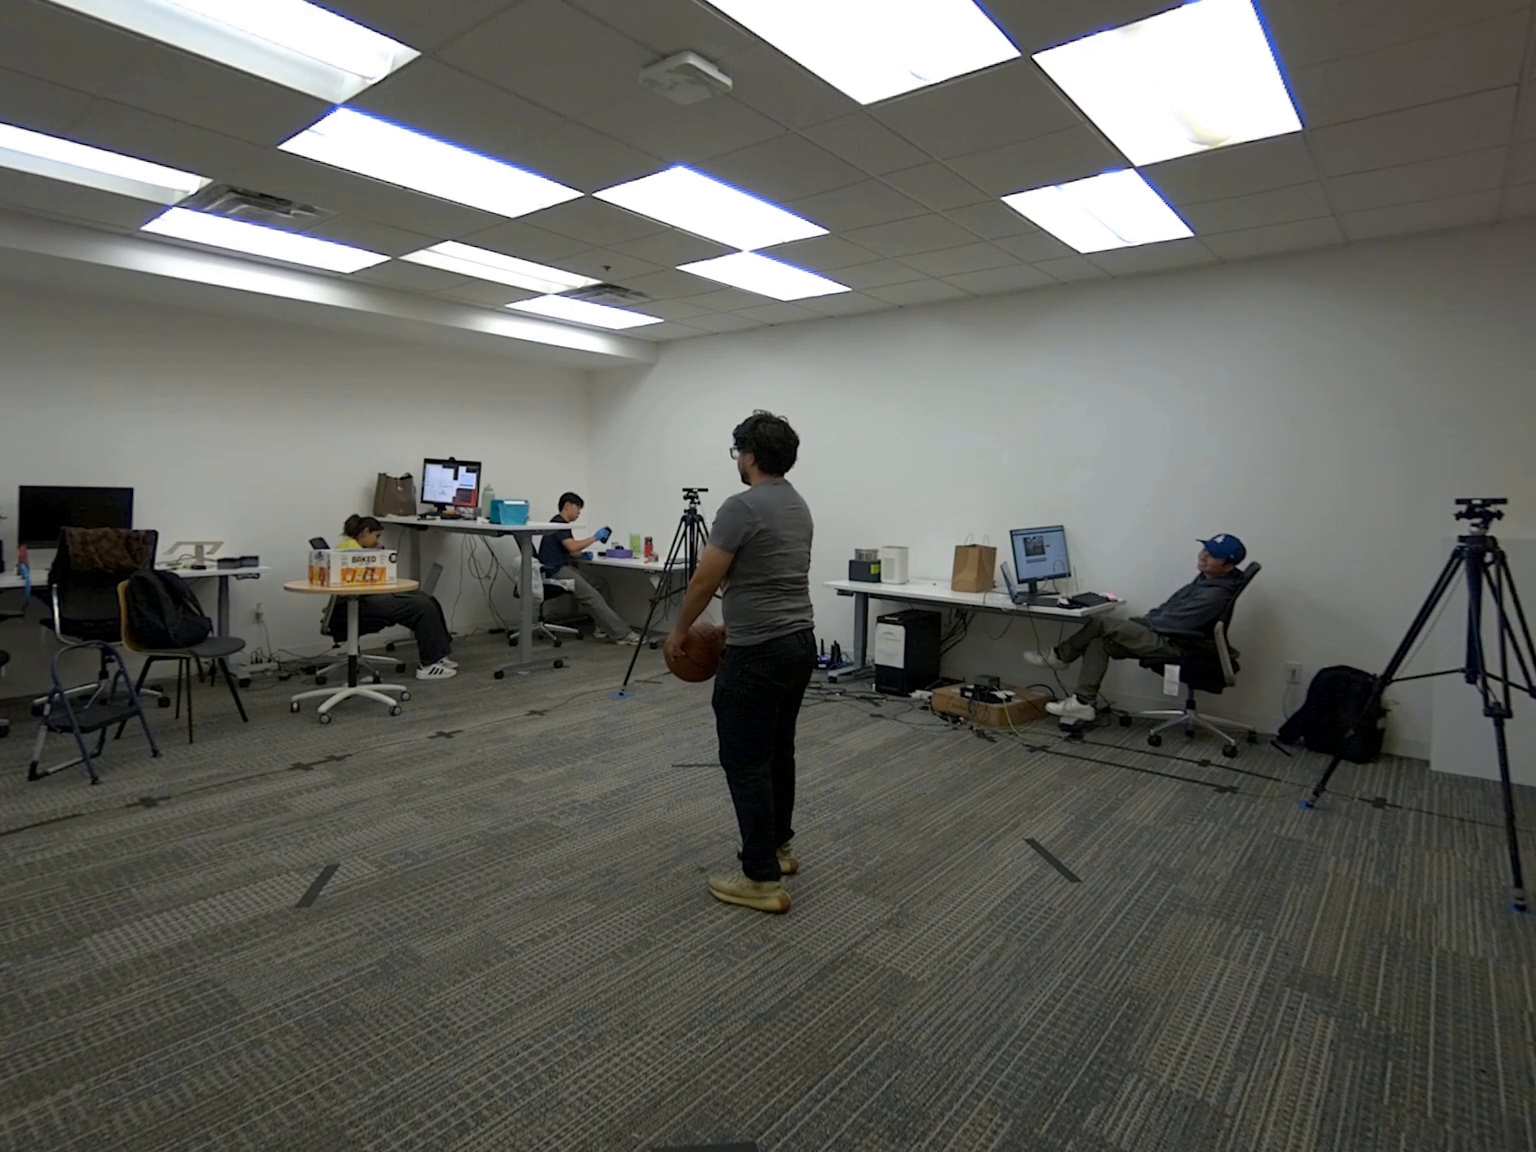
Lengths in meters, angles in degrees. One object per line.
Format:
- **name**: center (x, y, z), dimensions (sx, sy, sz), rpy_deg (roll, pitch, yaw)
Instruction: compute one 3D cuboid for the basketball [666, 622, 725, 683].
- **basketball**: center (-0.285, 0.277, 3.233), dimensions (0.235, 0.235, 0.237), rpy_deg (1, 4, -2)
